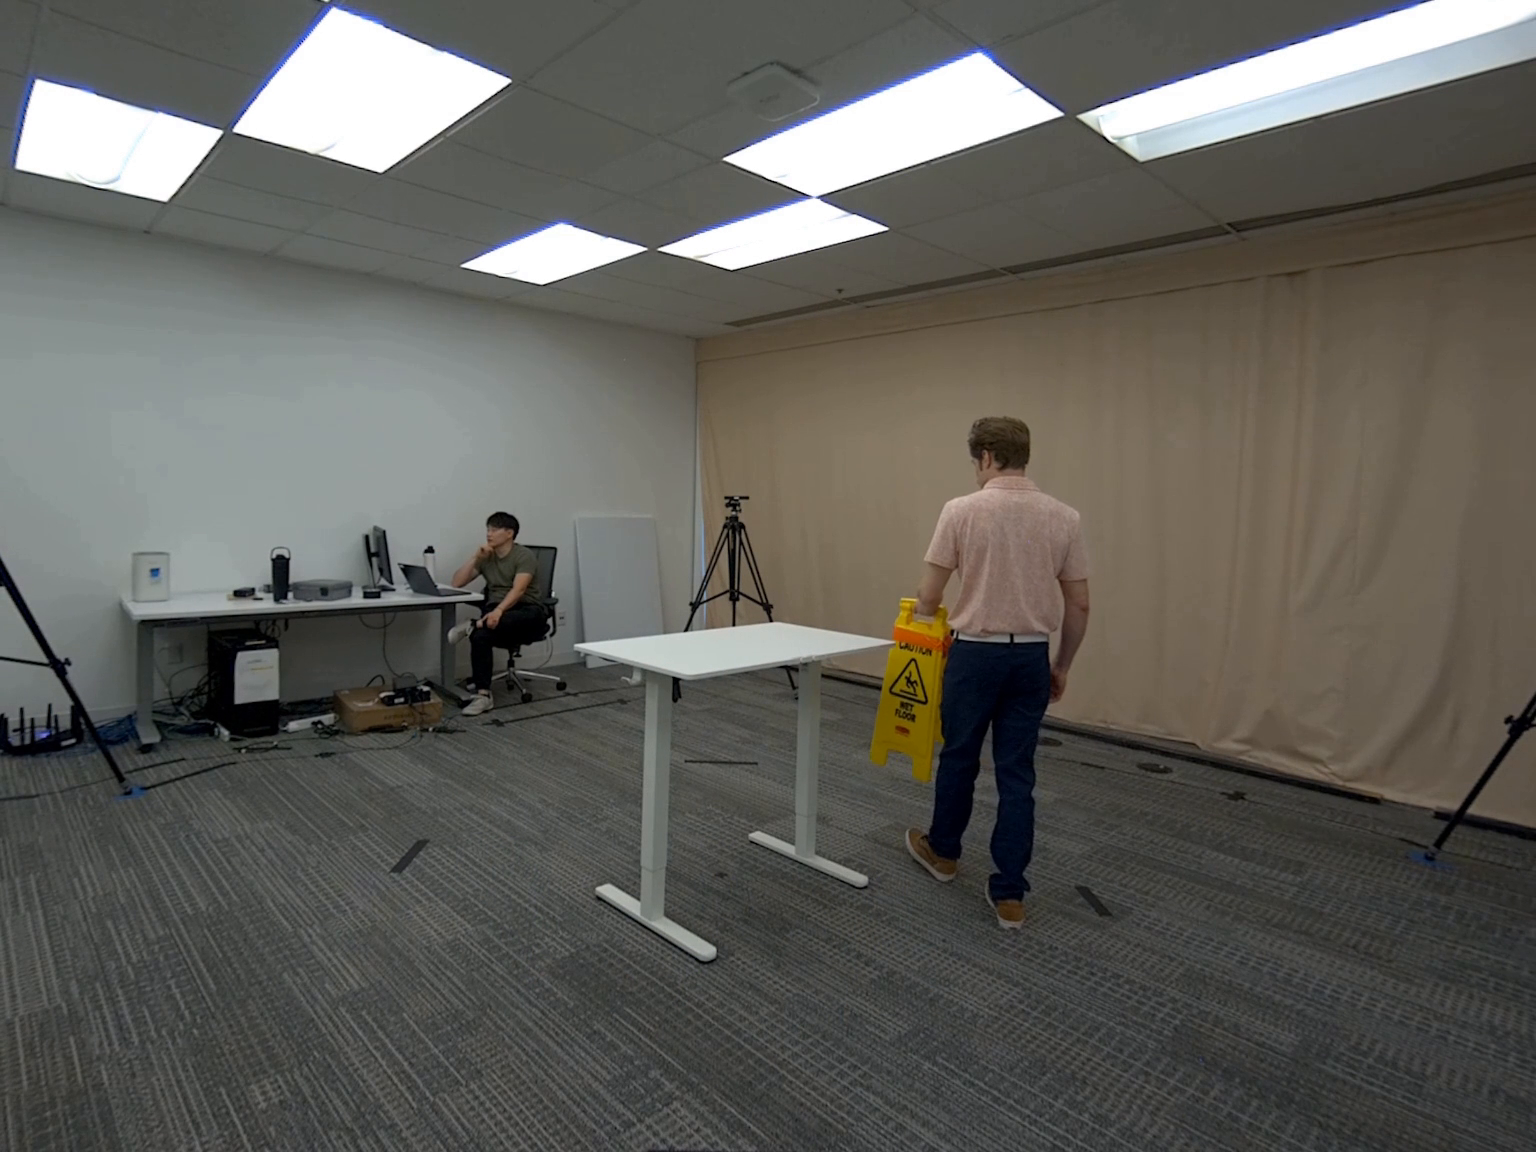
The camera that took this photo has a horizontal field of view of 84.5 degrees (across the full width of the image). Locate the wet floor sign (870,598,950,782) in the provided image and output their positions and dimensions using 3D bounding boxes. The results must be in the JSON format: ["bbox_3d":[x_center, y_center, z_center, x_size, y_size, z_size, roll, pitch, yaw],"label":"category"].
[{"bbox_3d":[0.581,0.419,3.265,0.283,0.642,0.290,-5,12,-42],"label":"wet floor sign"}]
